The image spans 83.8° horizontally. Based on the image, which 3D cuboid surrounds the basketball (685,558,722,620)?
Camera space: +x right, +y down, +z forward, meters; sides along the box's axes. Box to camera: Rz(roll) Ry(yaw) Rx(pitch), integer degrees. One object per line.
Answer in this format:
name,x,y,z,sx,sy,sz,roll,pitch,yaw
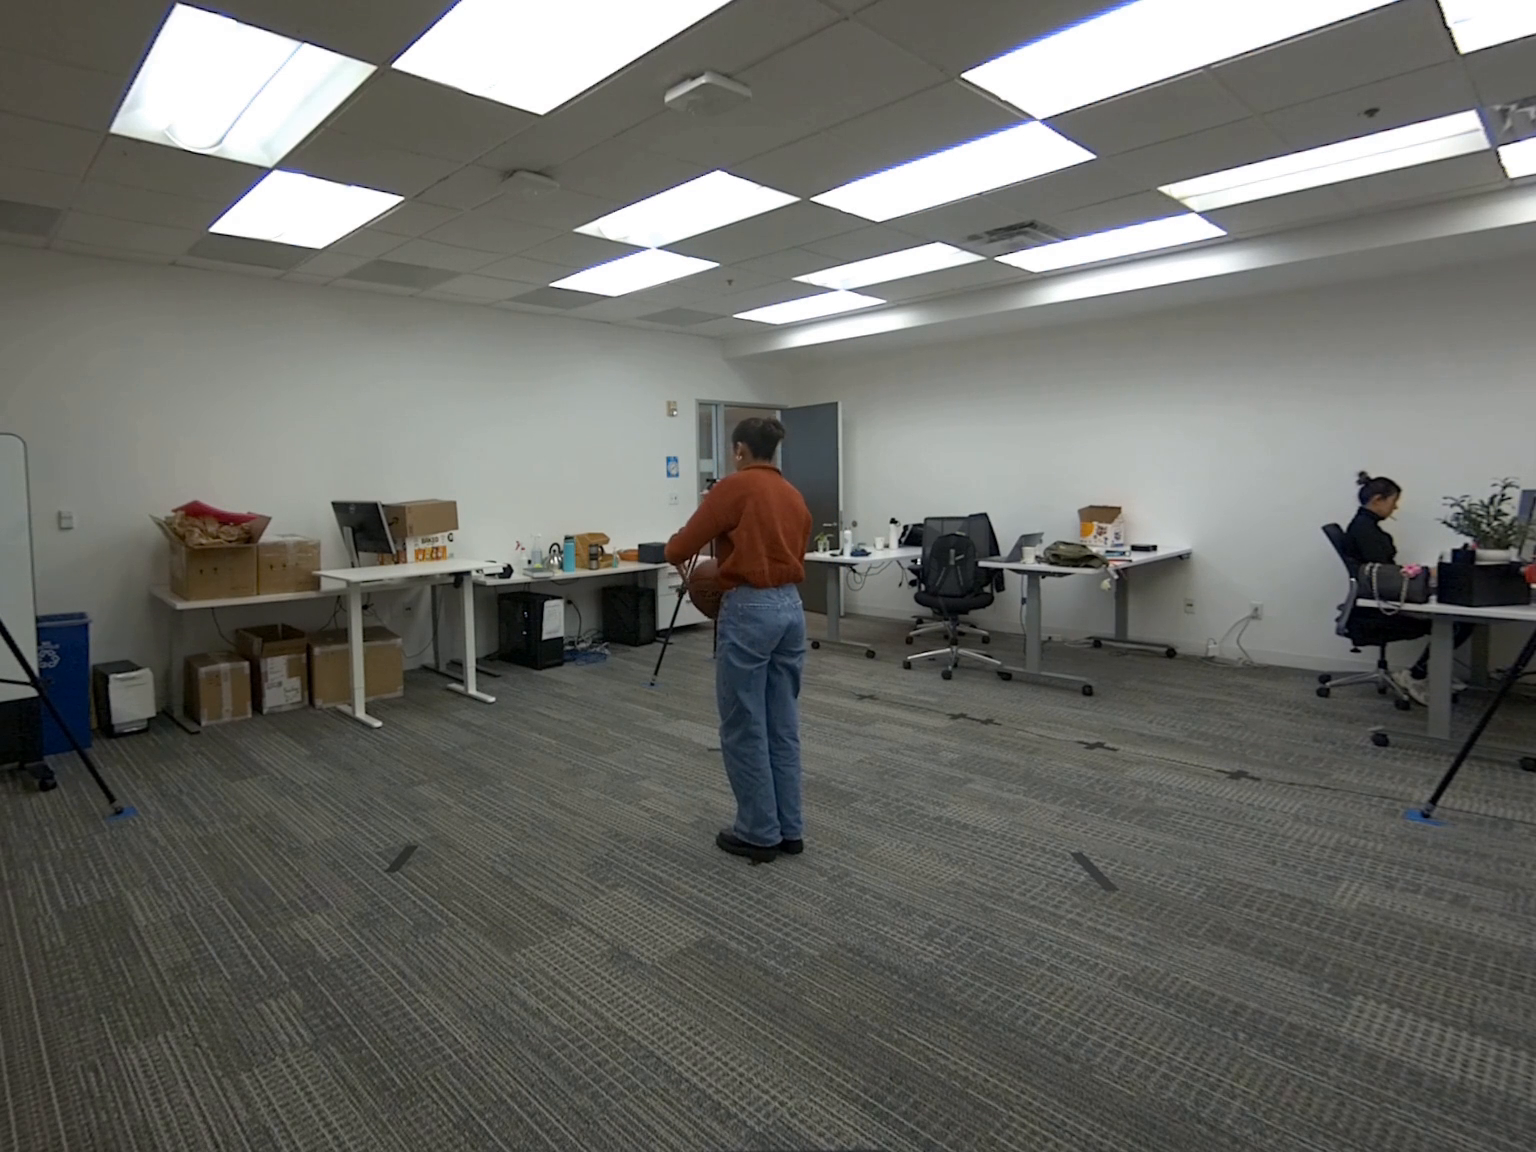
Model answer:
basketball,-0.197,0.032,3.407,0.236,0.235,0.237,-1,5,-2
